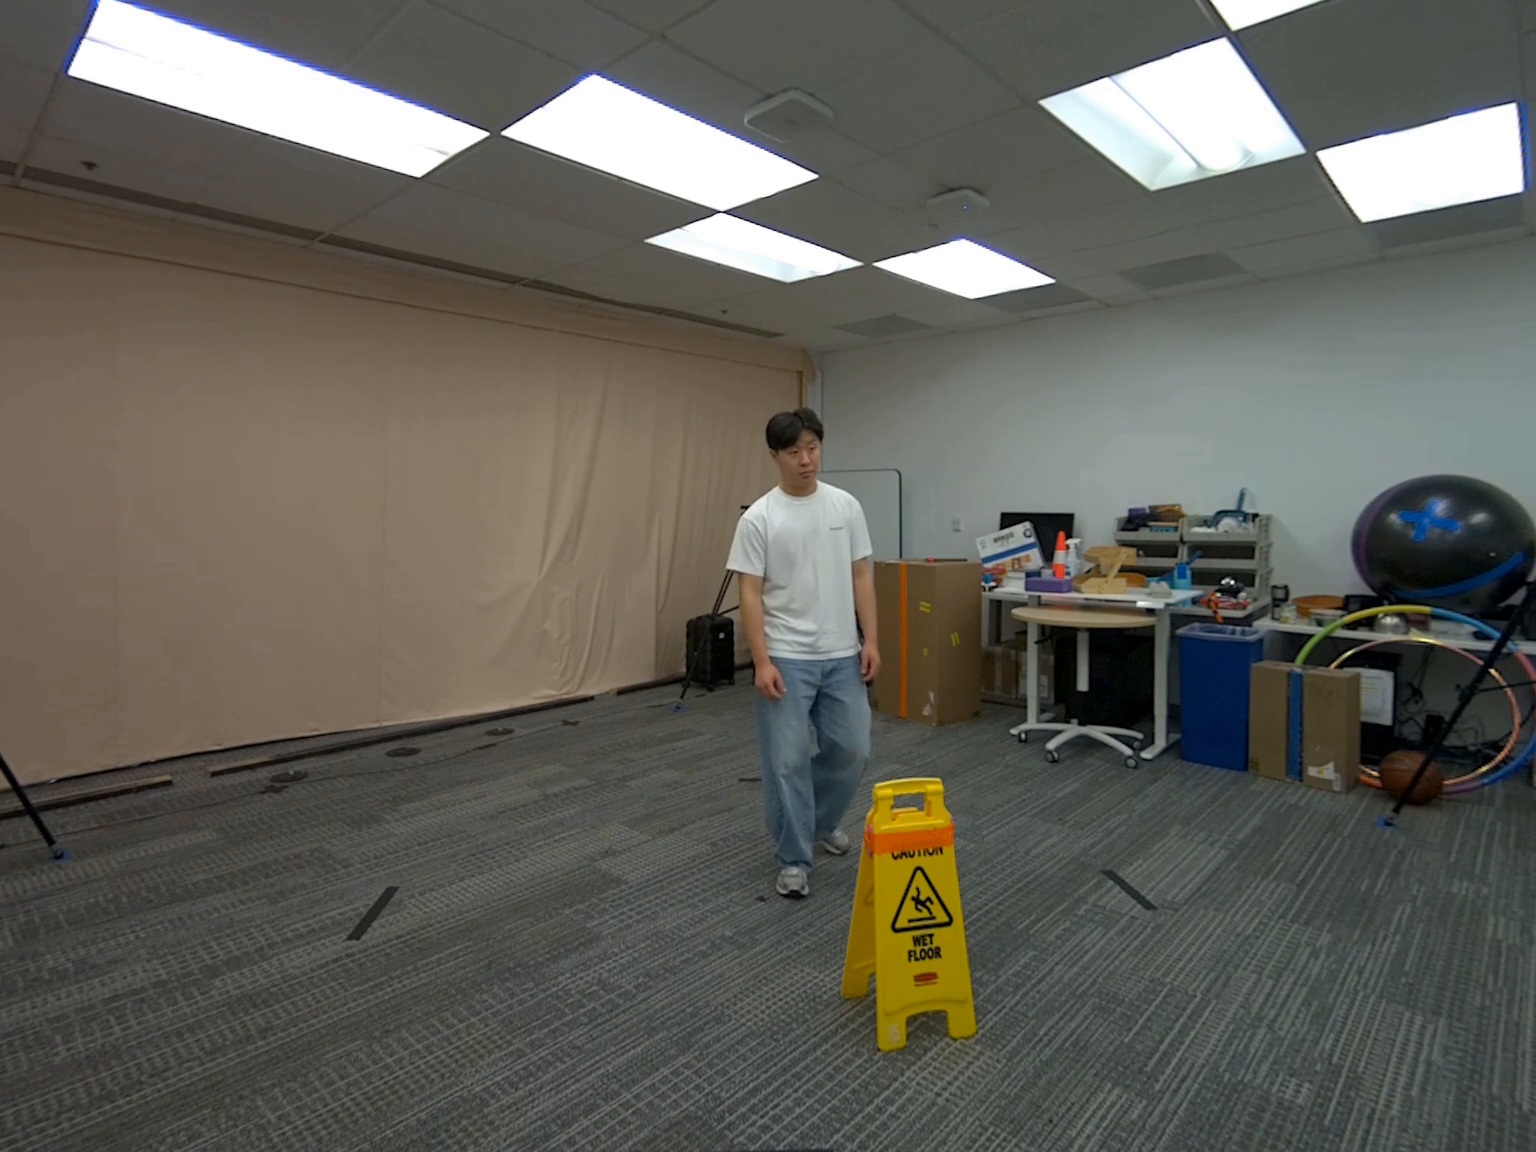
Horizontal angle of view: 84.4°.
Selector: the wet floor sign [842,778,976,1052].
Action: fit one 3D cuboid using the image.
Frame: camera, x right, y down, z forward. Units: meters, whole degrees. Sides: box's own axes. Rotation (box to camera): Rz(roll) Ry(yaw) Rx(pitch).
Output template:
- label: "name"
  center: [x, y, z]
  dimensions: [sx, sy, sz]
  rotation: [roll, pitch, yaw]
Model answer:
- label: "wet floor sign"
  center: [0.362, 0.881, 2.280]
  dimensions: [0.278, 0.645, 0.295]
  rotation: [-2, 3, -16]
